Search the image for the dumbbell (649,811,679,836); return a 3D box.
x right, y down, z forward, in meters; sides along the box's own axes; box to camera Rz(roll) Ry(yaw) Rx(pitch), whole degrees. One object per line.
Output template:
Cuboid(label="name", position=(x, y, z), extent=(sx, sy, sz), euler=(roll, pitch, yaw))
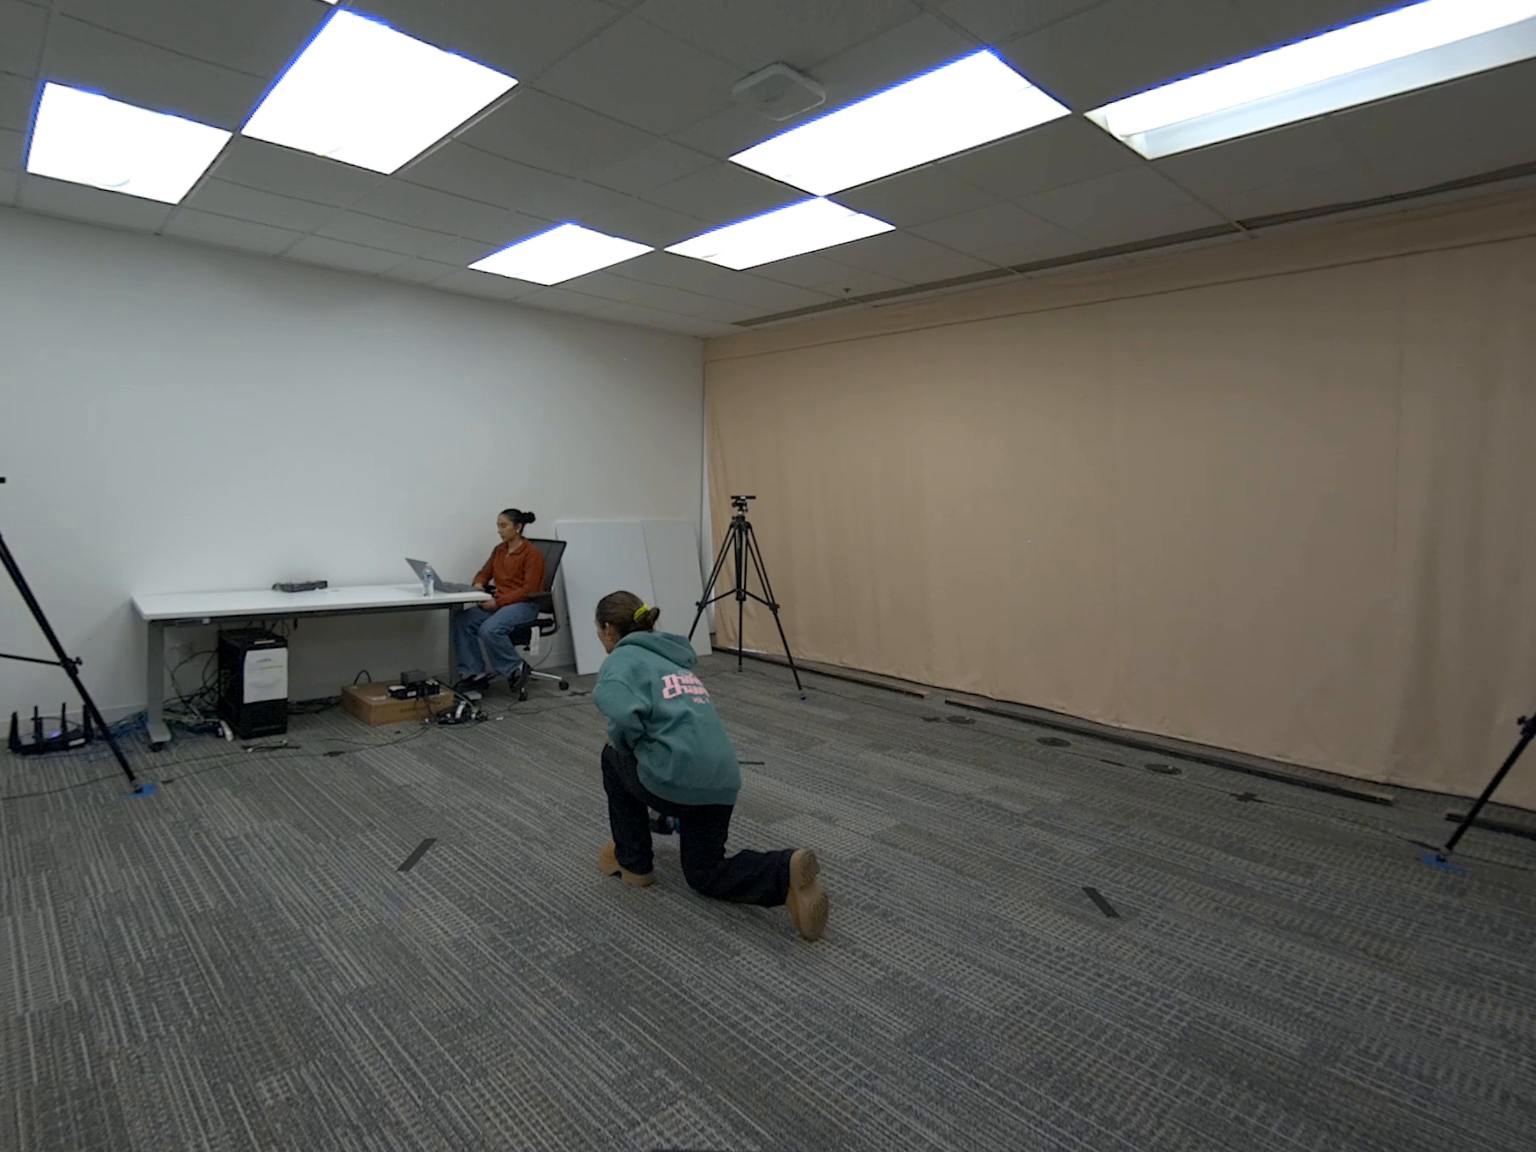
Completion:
Cuboid(label="dumbbell", position=(-0.338, 0.956, 3.231), extent=(0.300, 0.106, 0.123), euler=(0, 44, 42))
